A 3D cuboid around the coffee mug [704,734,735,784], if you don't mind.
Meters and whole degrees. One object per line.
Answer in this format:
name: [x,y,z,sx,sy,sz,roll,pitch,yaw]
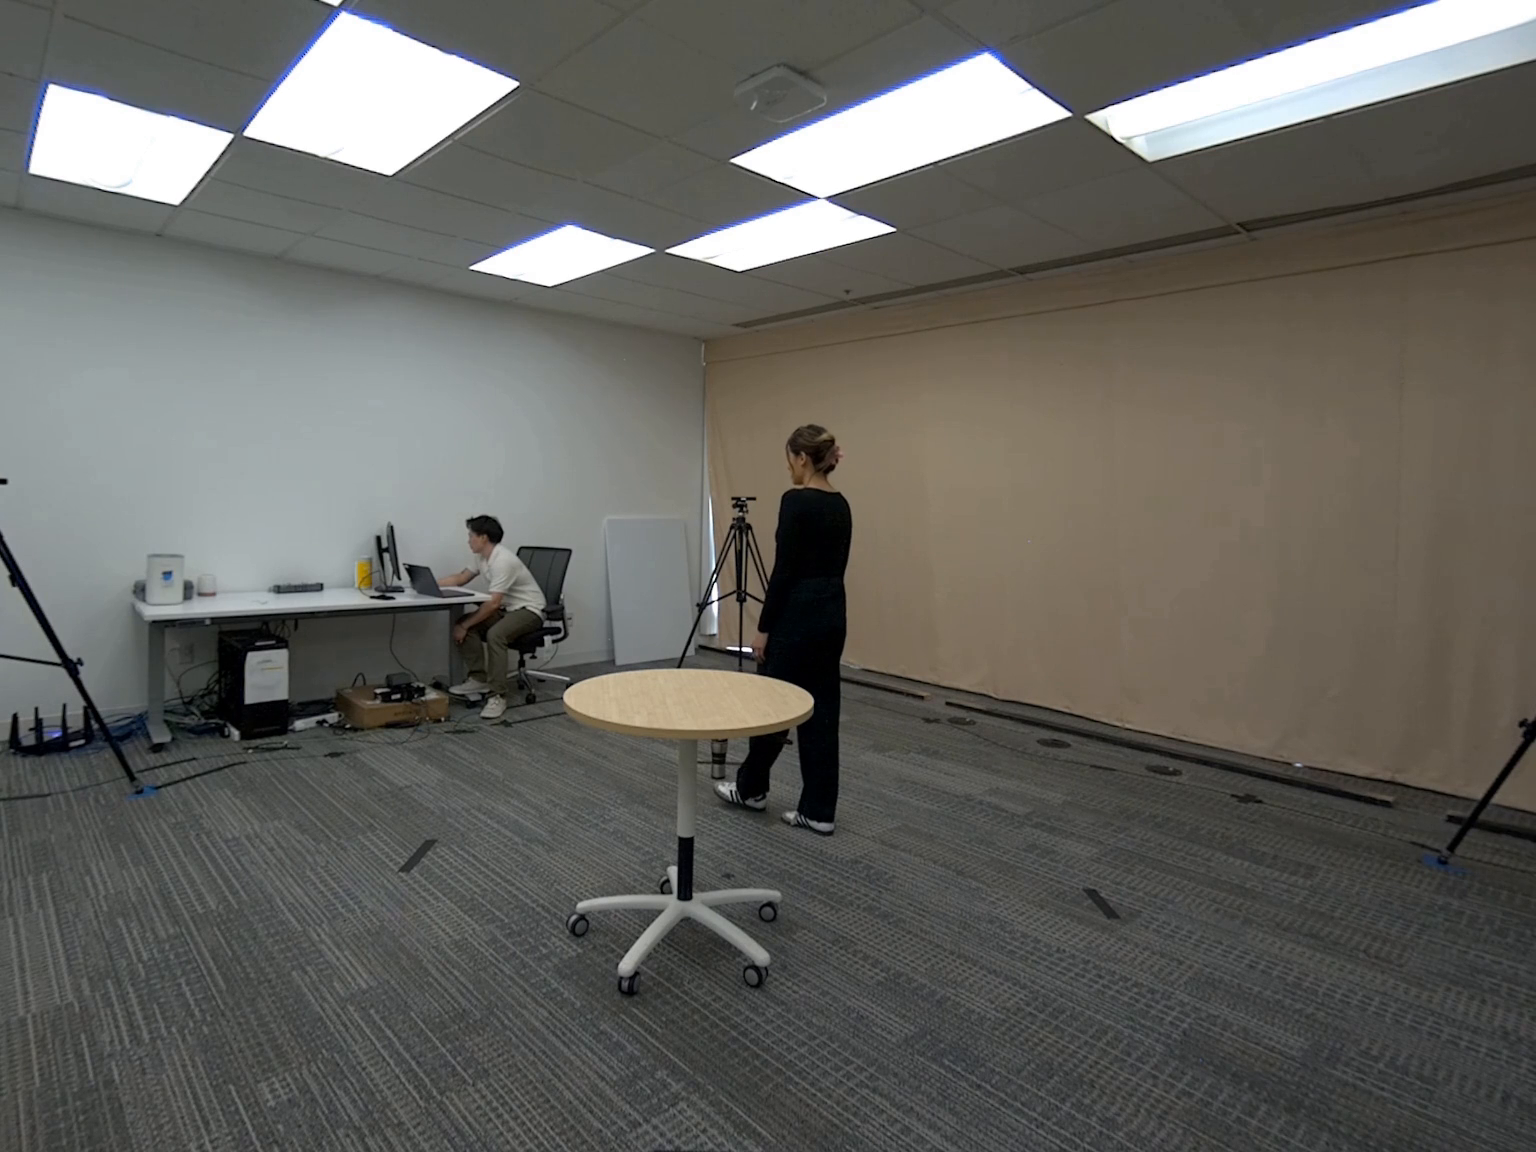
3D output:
coffee mug: [-0.246,0.914,4.240,0.090,0.202,0.119,-1,4,34]
